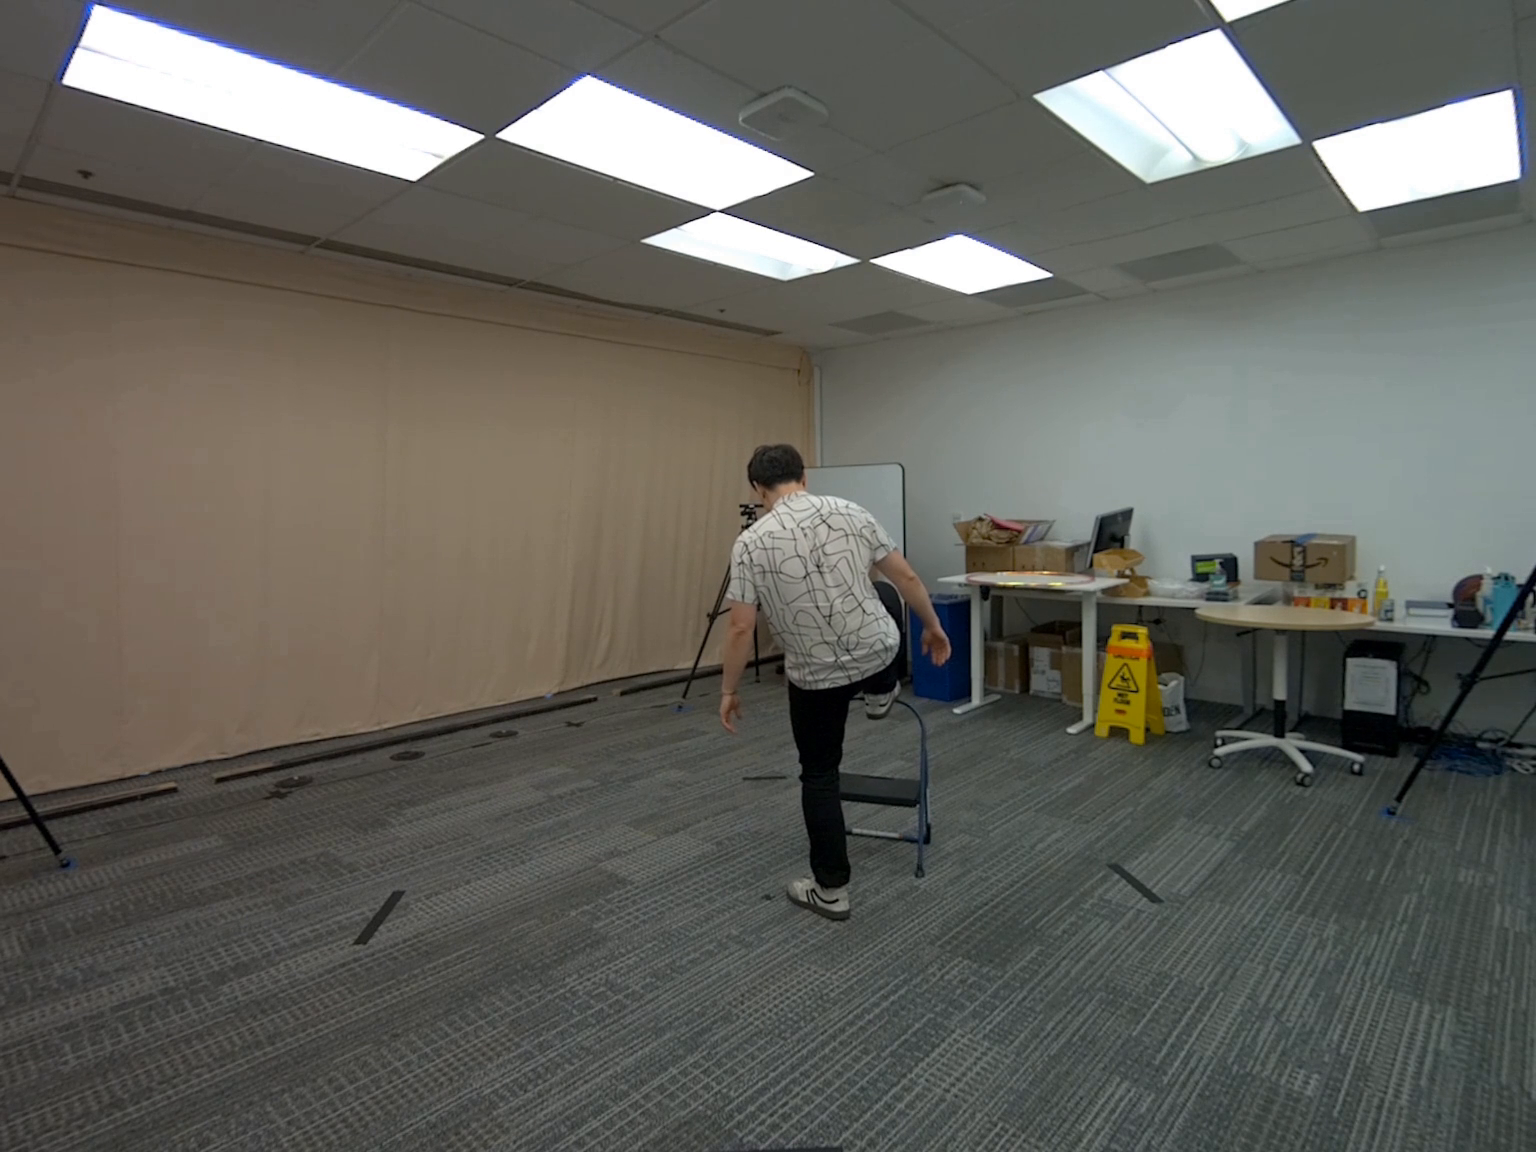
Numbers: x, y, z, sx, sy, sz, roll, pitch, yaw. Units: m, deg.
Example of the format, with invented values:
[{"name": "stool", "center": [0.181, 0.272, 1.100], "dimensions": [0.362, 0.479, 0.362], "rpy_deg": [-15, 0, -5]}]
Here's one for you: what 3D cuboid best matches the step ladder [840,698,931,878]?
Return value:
[{"name": "step ladder", "center": [0.429, 0.790, 3.352], "dimensions": [0.439, 0.605, 0.343], "rpy_deg": [1, 1, 18]}]
